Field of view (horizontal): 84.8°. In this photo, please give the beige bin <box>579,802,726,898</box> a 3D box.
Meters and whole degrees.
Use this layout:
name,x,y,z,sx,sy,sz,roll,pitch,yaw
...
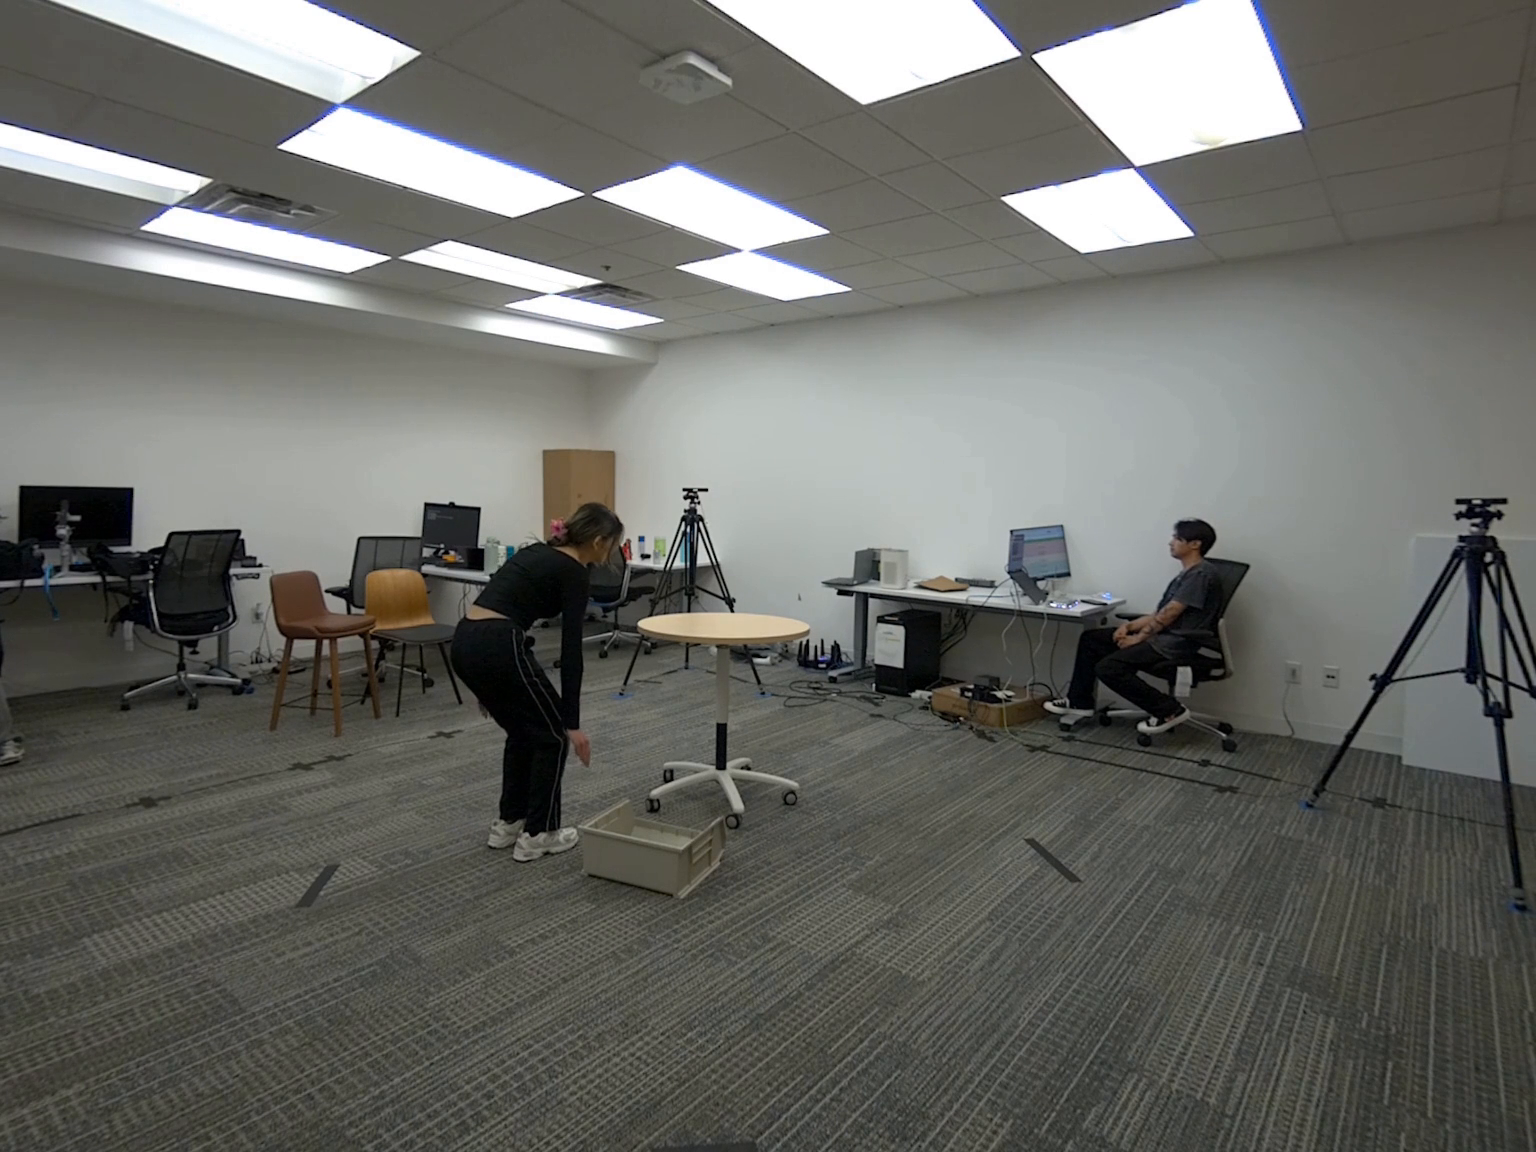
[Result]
name,x,y,z,sx,sy,sz,roll,pitch,yaw
beige bin,-0.427,0.979,3.112,0.433,0.188,0.370,4,6,23
